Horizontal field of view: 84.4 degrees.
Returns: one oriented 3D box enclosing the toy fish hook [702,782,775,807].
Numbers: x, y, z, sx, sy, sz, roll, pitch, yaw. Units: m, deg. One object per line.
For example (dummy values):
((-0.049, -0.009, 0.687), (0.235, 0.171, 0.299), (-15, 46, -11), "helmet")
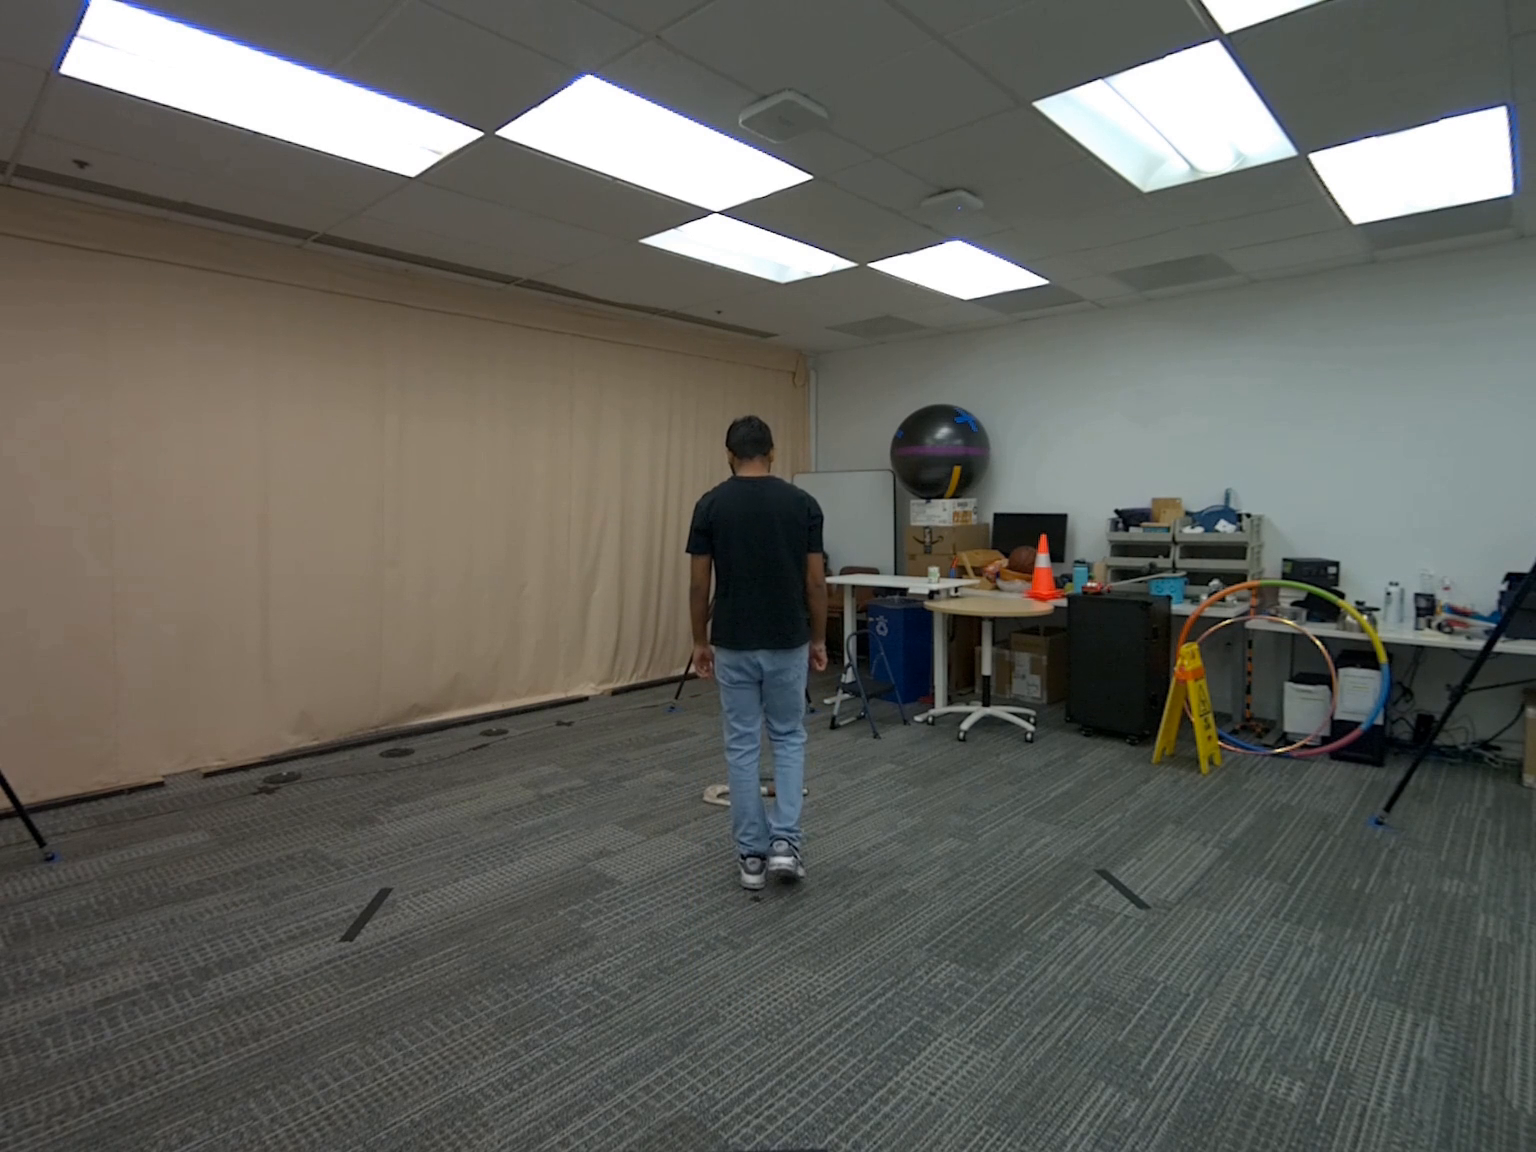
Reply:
((-0.055, 1.045, 4.009), (0.507, 0.048, 0.226), (-1, 12, 1), "toy fish hook")
